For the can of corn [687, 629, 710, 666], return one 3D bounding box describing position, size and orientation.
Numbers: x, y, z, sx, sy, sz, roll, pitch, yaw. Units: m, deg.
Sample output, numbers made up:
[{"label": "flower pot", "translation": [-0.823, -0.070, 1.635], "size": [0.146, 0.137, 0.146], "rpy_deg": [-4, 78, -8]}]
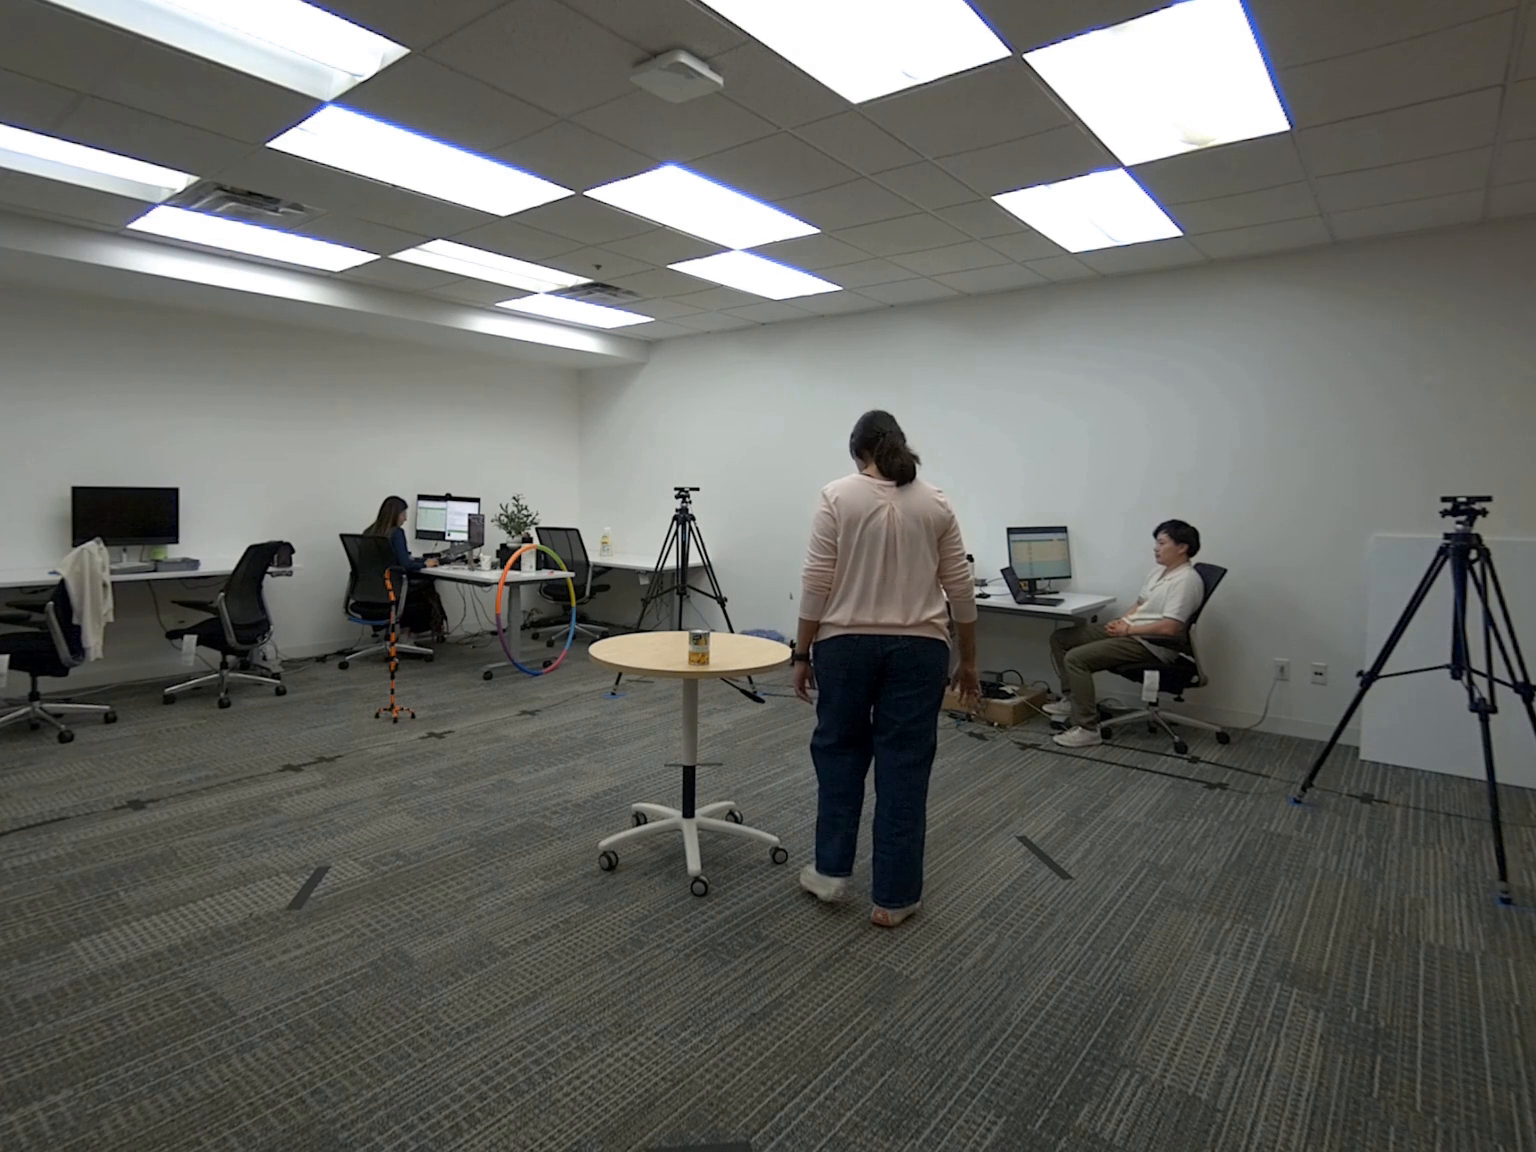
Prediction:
[{"label": "can of corn", "translation": [-0.252, 0.249, 2.942], "size": [0.074, 0.110, 0.075], "rpy_deg": [2, 5, -2]}]
